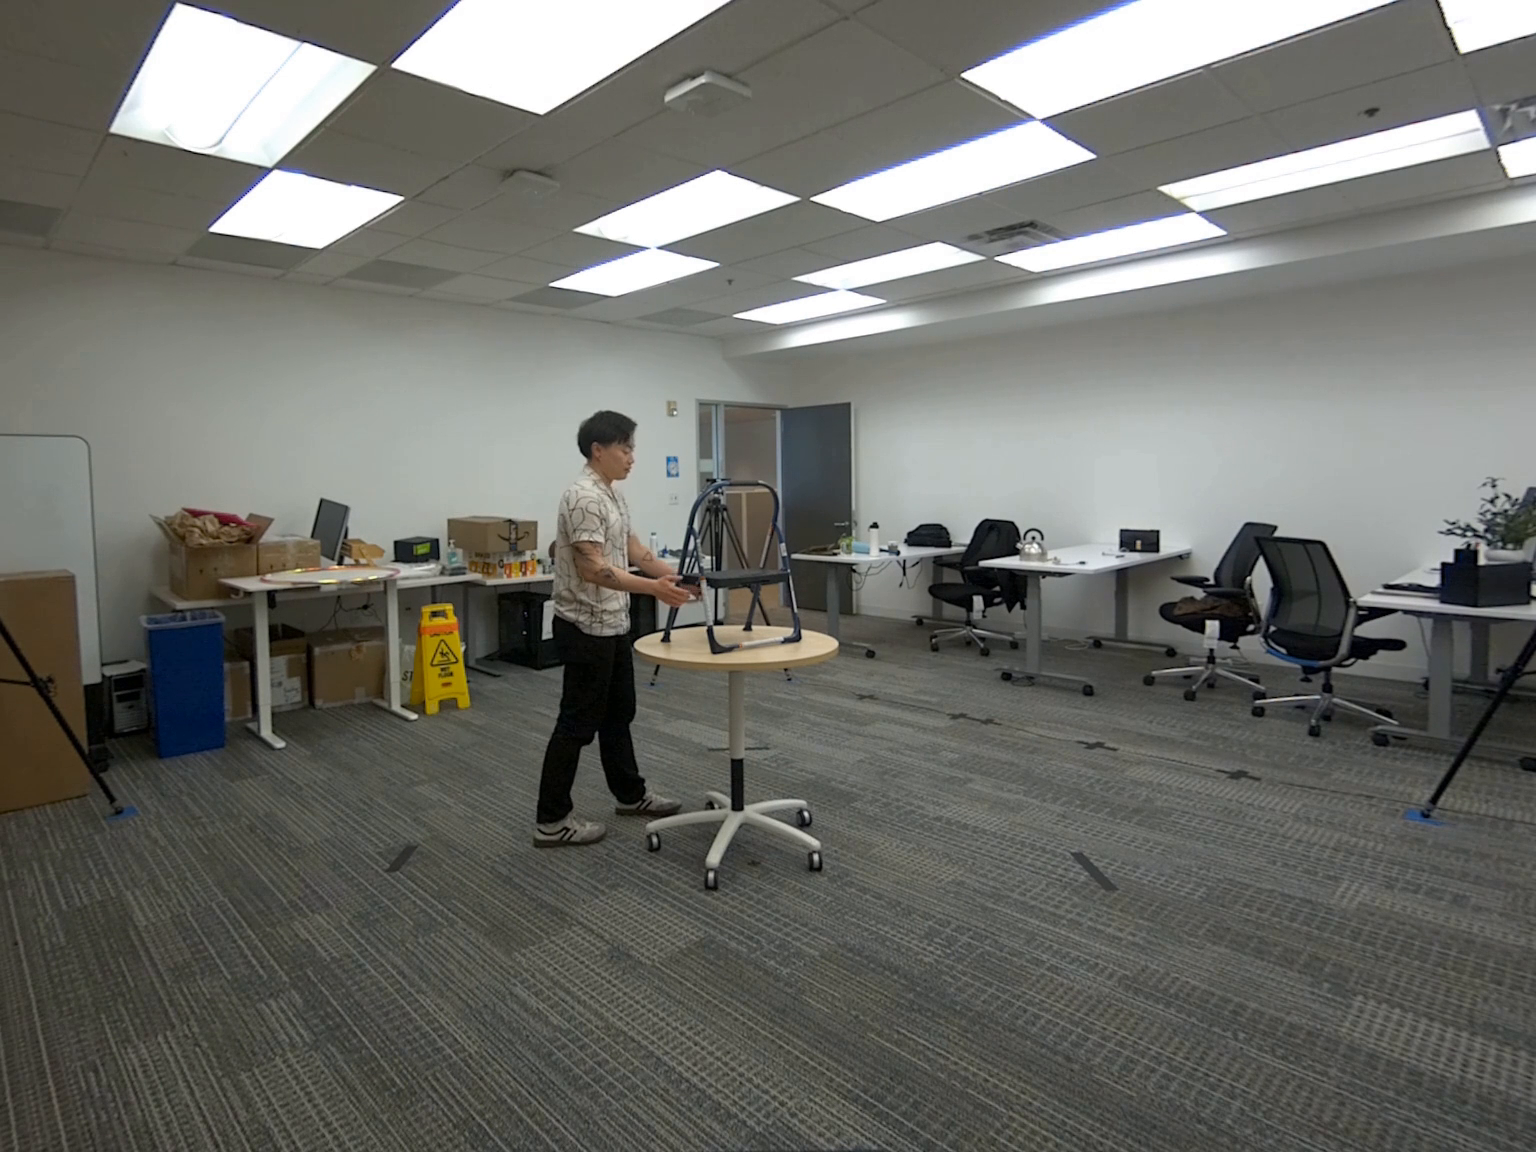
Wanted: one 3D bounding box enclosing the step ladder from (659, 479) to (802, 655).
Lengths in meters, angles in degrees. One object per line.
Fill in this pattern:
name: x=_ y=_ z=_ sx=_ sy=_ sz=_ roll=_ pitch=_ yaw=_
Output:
step ladder: x=-0.140 y=-0.054 z=3.217 sx=0.419 sy=0.604 sz=0.360 roll=-4 pitch=4 yaw=-38
